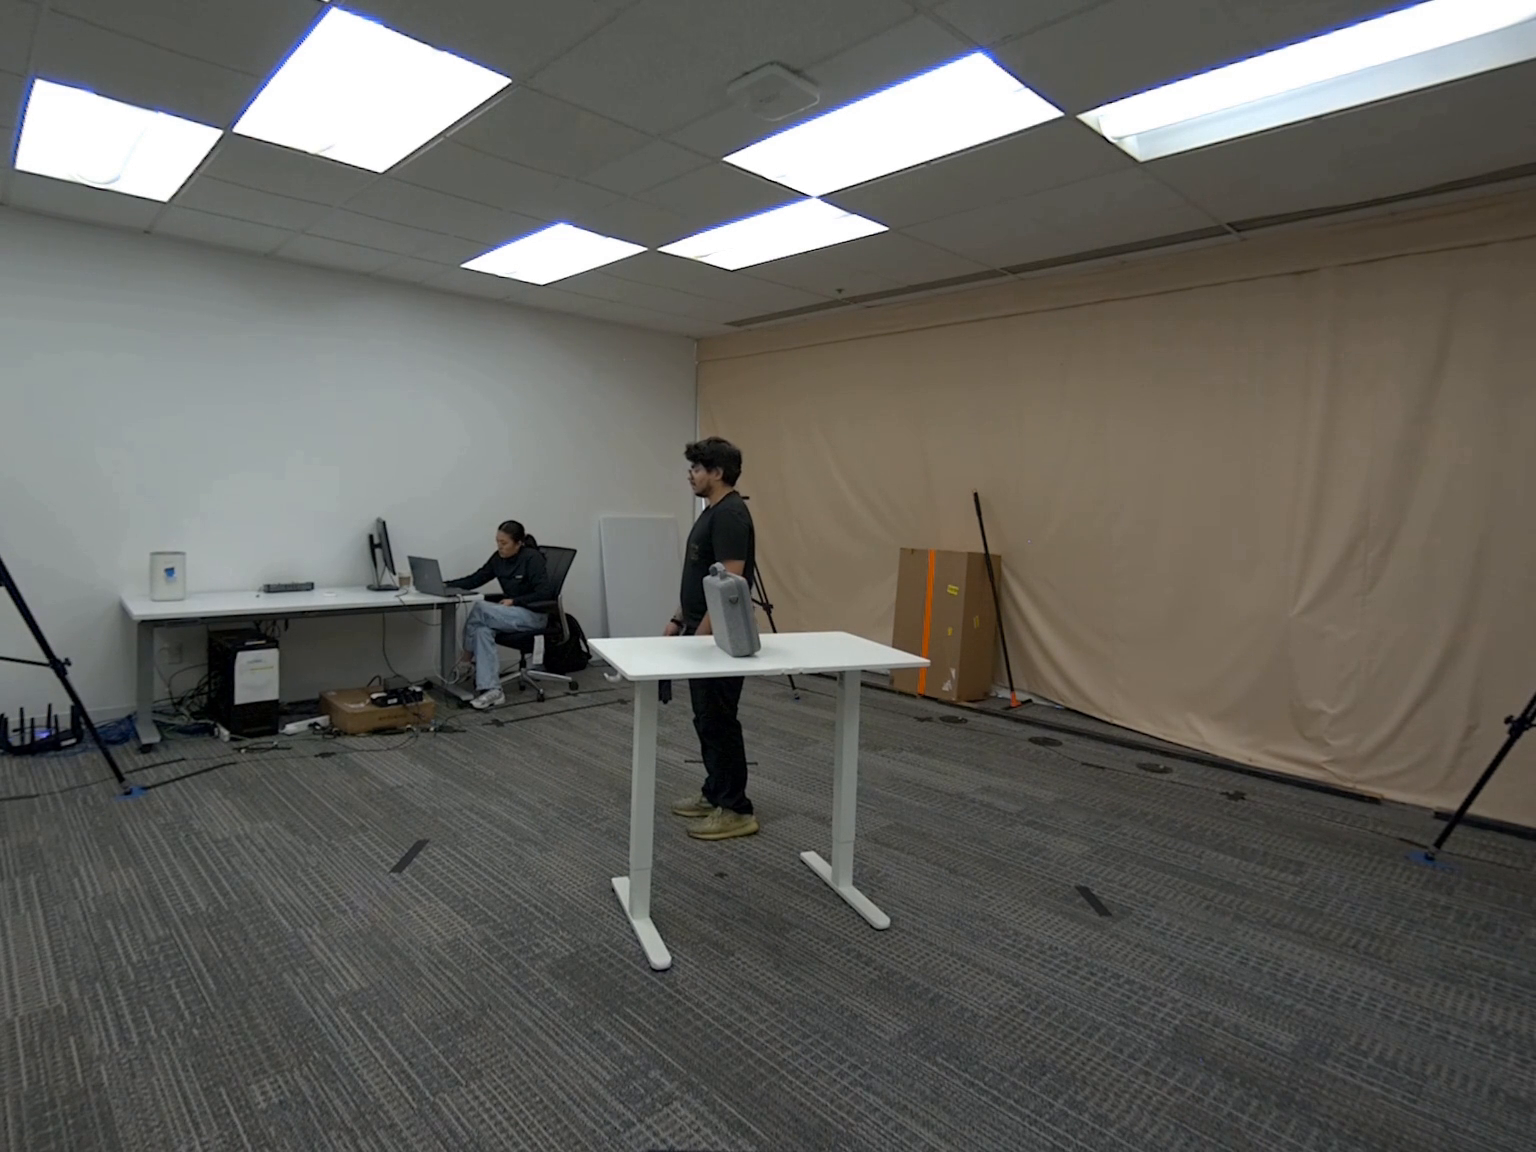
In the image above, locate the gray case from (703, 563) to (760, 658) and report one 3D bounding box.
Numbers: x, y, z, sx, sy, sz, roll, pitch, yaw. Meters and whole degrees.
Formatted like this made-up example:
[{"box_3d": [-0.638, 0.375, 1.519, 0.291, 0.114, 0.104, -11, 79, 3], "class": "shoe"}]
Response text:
[{"box_3d": [-0.132, 0.118, 2.771, 0.103, 0.259, 0.261, -8, 7, -15], "class": "gray case"}]
